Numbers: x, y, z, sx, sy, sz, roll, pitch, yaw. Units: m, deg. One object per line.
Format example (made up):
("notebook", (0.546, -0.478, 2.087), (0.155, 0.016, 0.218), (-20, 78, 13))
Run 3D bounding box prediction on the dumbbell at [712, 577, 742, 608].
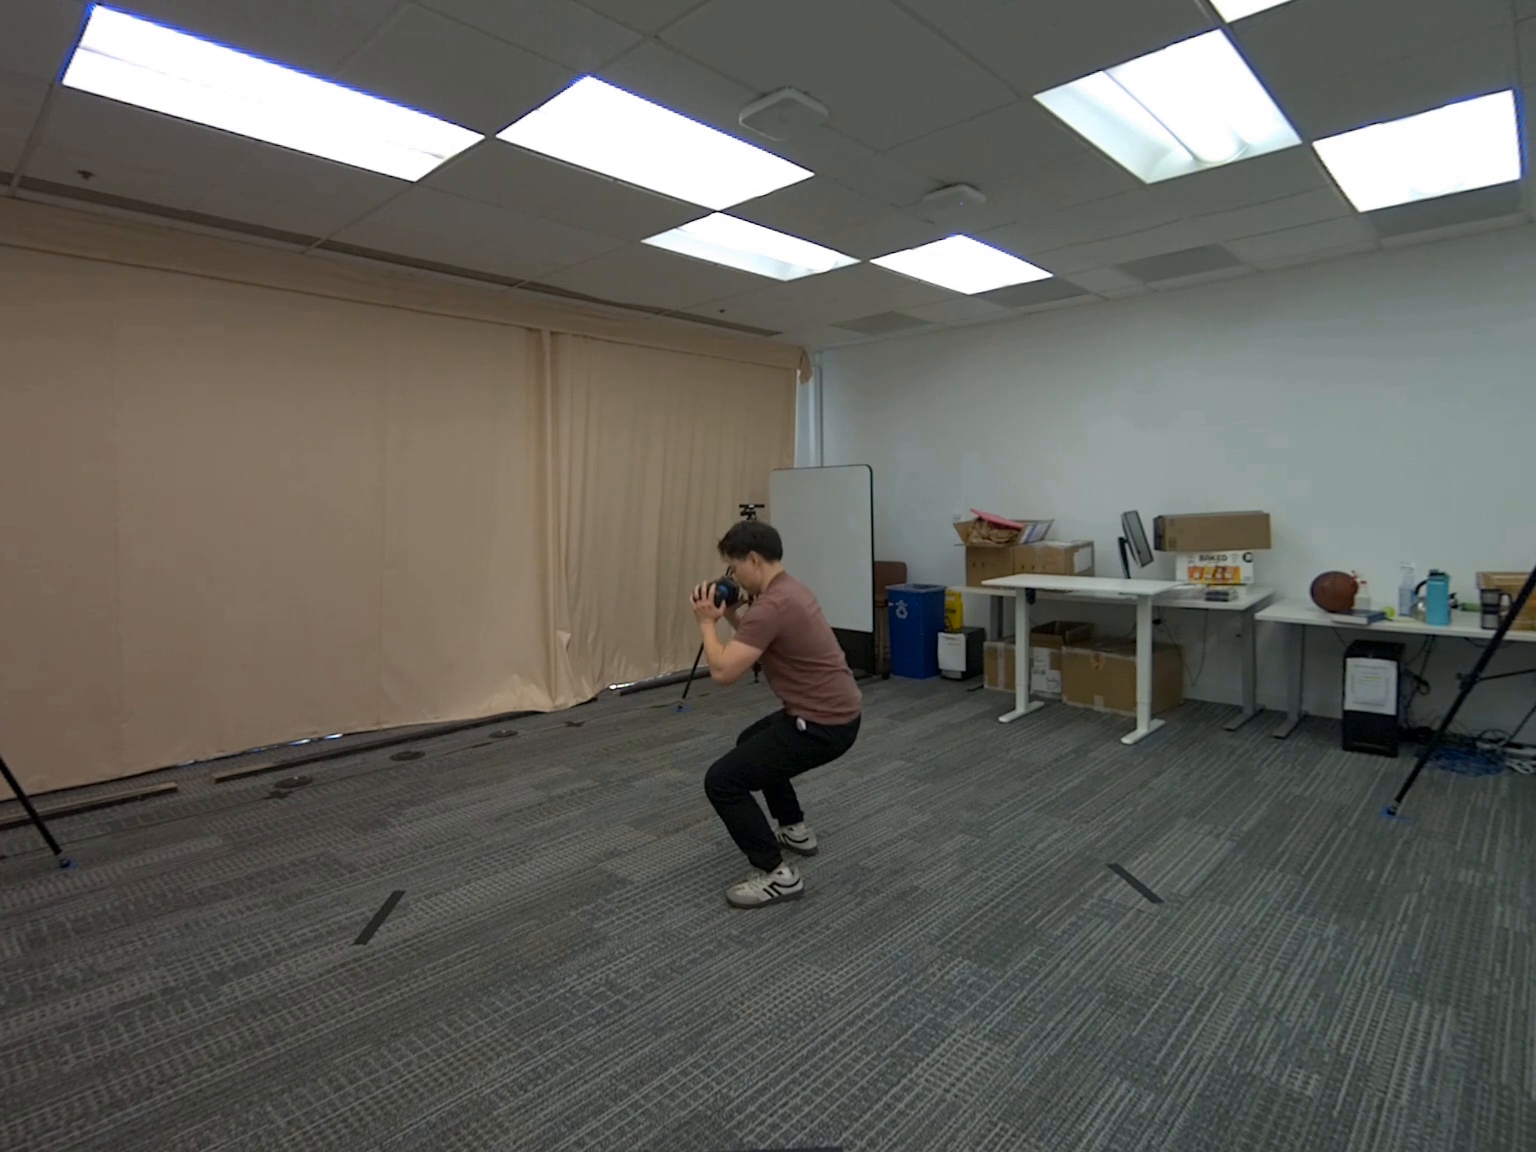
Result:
("dumbbell", (-0.187, 0.077, 3.216), (0.124, 0.109, 0.290), (39, 12, 6))
